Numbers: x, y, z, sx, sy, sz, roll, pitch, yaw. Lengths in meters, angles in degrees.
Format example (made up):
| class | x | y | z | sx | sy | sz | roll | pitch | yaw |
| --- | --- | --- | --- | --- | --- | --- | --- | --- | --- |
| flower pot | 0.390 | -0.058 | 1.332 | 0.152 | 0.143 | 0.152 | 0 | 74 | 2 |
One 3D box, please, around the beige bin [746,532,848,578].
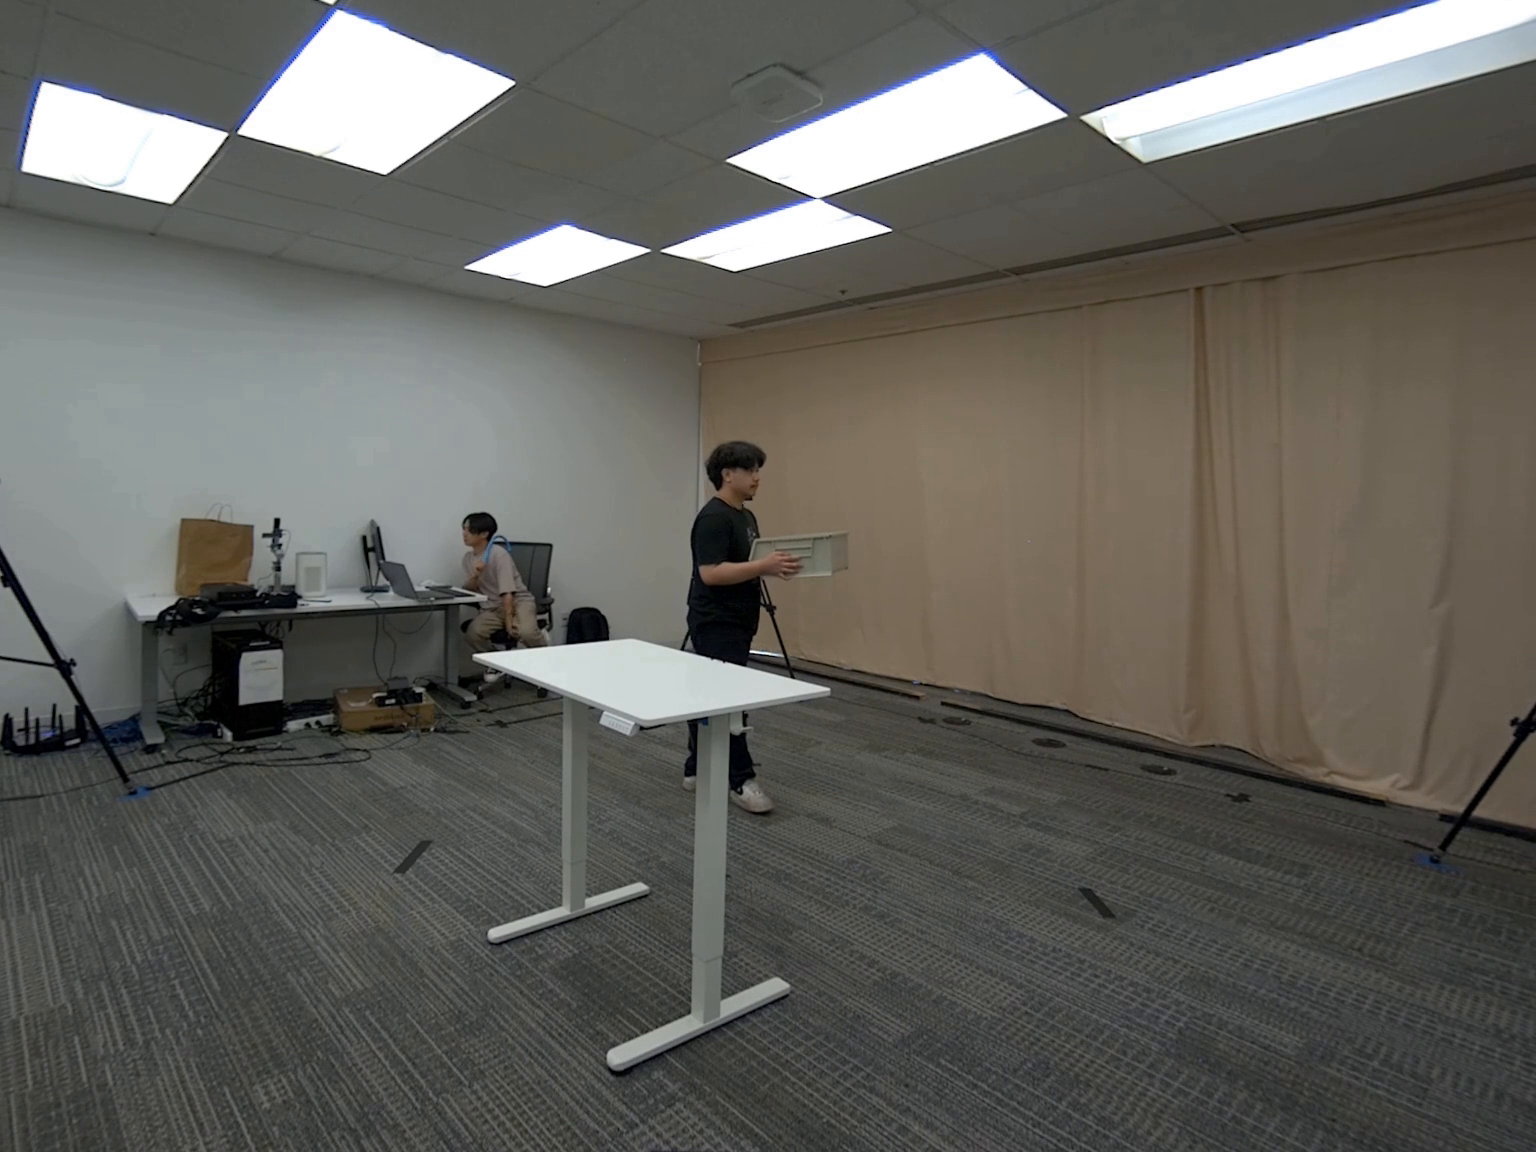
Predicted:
| class | x | y | z | sx | sy | sz | roll | pitch | yaw |
| --- | --- | --- | --- | --- | --- | --- | --- | --- | --- |
| beige bin | 0.138 | -0.104 | 3.847 | 0.383 | 0.188 | 0.417 | 0 | 4 | 19 |
